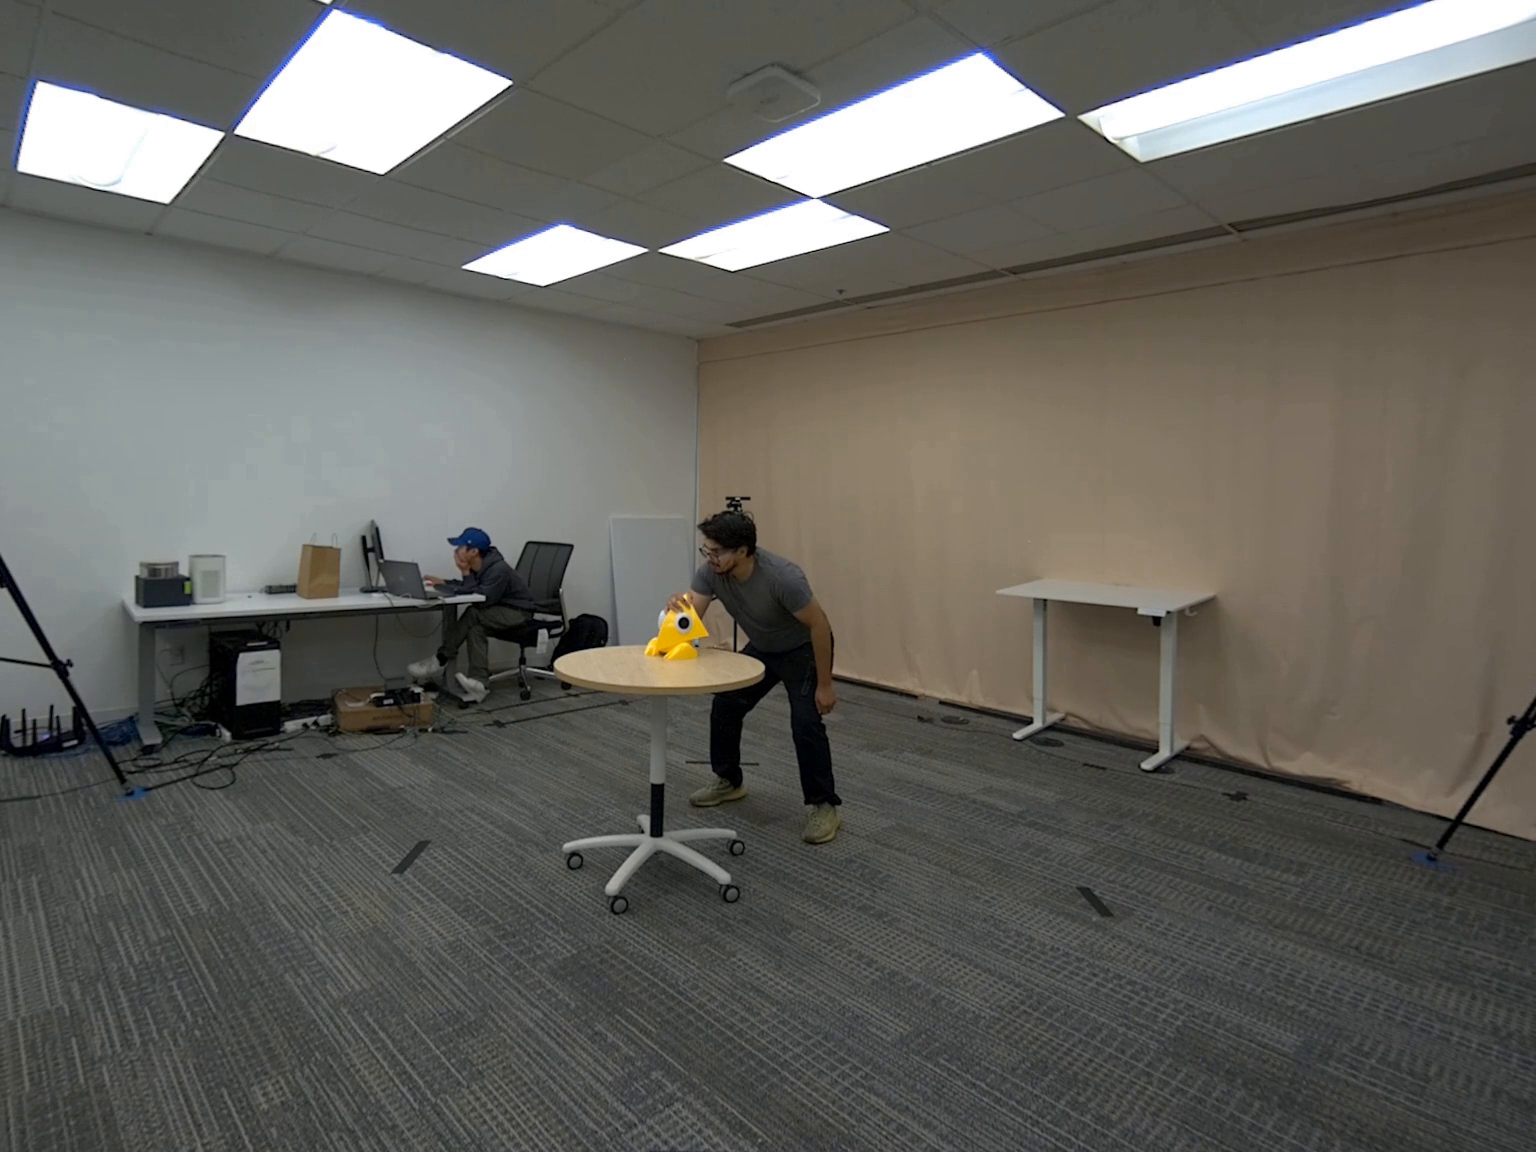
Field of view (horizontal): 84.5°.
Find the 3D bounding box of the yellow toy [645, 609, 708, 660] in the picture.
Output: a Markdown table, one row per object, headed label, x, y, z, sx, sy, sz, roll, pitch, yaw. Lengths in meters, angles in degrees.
| label | x | y | z | sx | sy | sz | roll | pitch | yaw |
| --- | --- | --- | --- | --- | --- | --- | --- | --- | --- |
| yellow toy | -0.372 | 0.193 | 3.258 | 0.210 | 0.230 | 0.189 | 4 | 5 | 39 |
